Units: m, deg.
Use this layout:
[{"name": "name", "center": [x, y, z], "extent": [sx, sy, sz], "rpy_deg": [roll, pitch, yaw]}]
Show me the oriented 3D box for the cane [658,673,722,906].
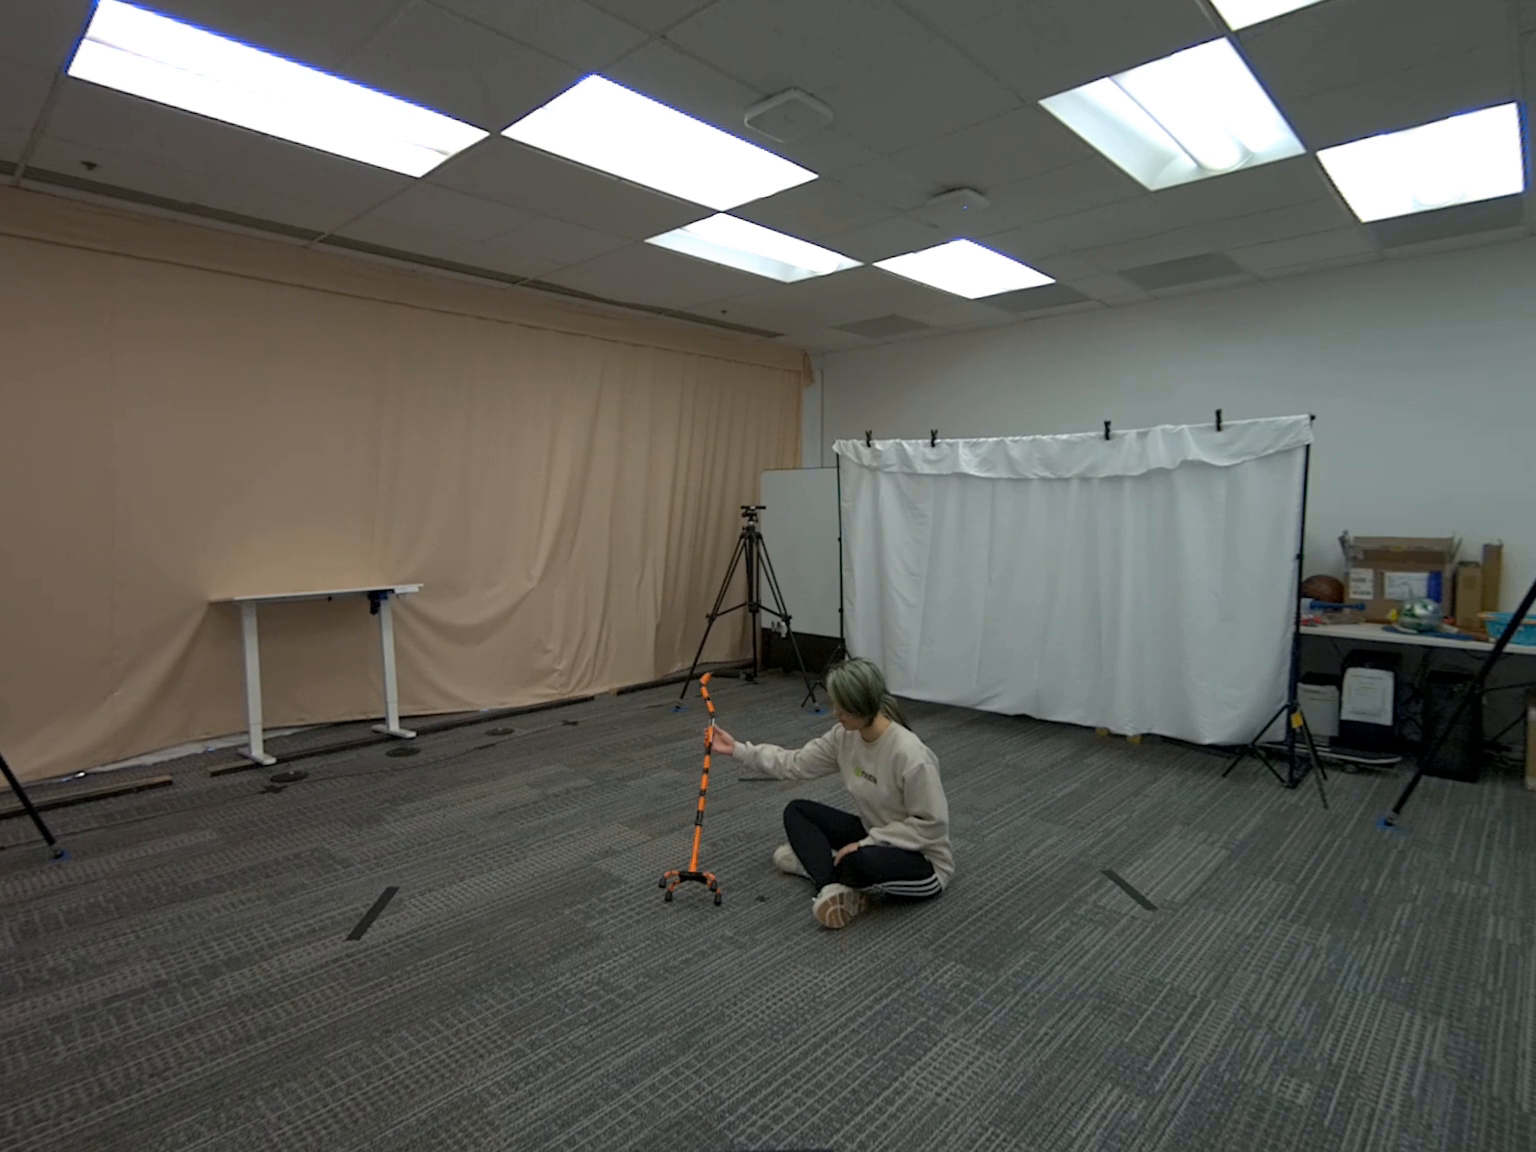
[{"name": "cane", "center": [-0.234, 0.754, 3.200], "extent": [0.208, 0.921, 0.148], "rpy_deg": [0, -40, 7]}]
